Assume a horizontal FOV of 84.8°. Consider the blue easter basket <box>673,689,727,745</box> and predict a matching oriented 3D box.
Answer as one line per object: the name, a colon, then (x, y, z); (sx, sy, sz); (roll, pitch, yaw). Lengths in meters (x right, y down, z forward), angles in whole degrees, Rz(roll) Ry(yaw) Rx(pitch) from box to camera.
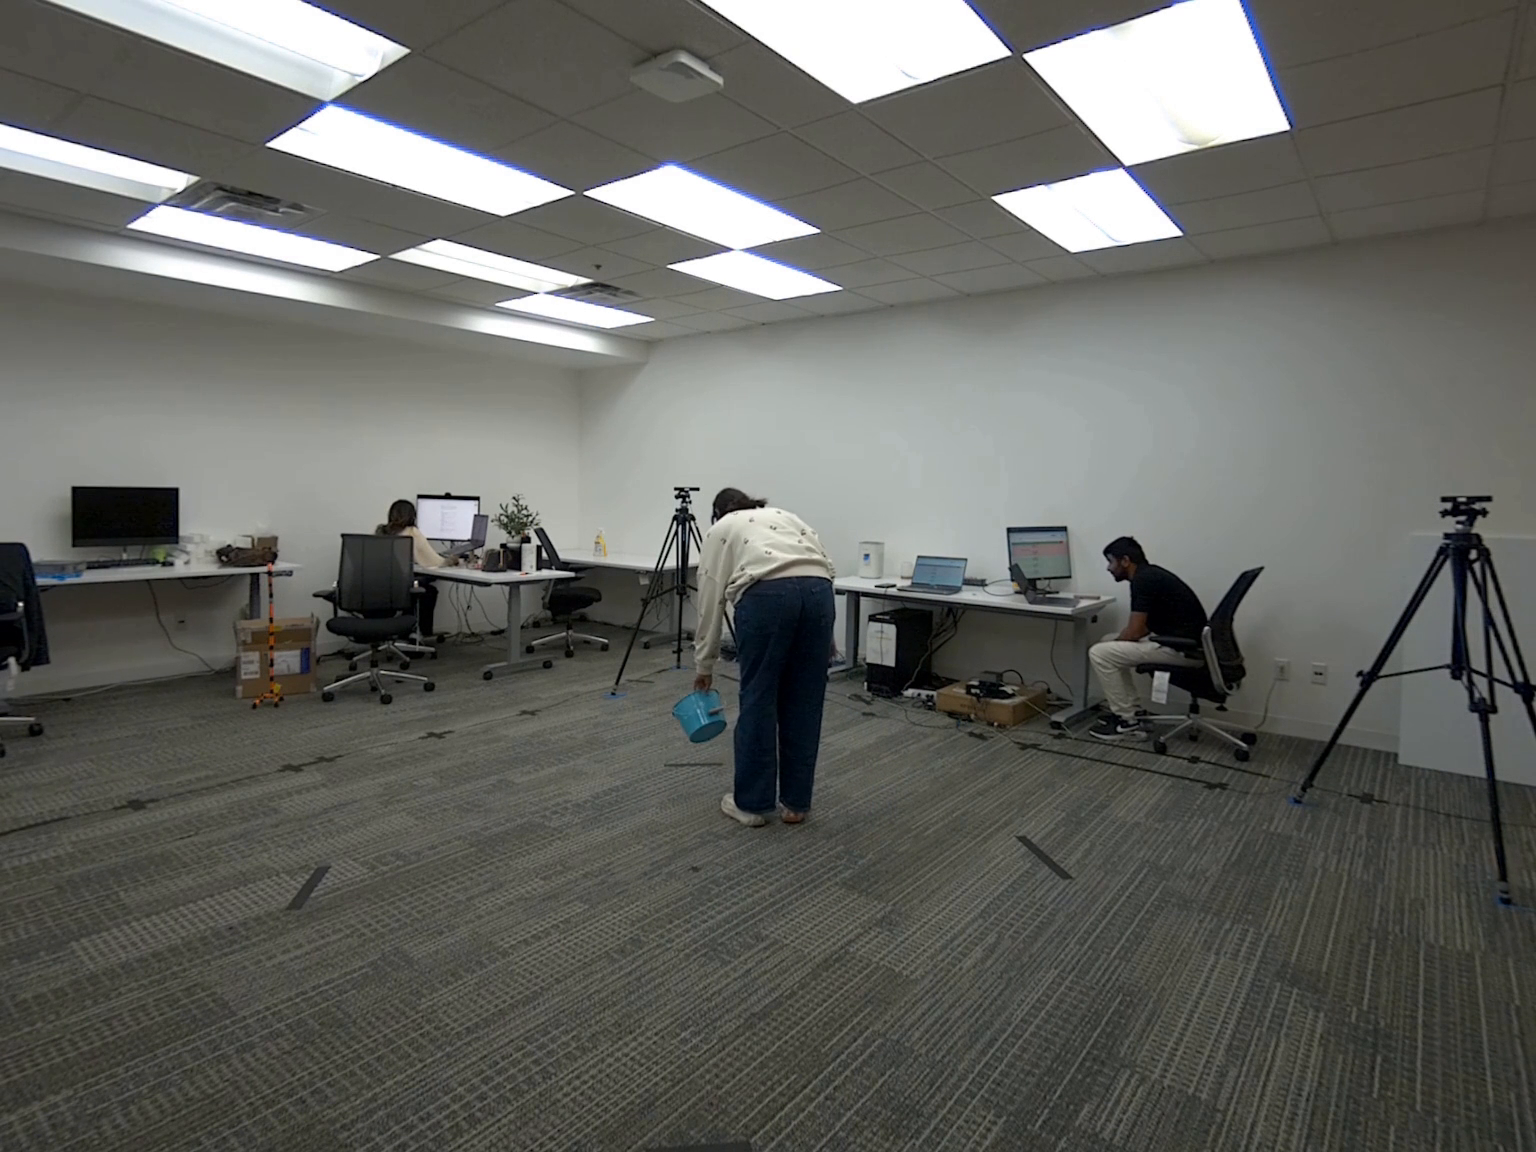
blue easter basket: (-0.311, 0.629, 3.808); (0.236, 0.241, 0.162); (-2, 49, -36)
